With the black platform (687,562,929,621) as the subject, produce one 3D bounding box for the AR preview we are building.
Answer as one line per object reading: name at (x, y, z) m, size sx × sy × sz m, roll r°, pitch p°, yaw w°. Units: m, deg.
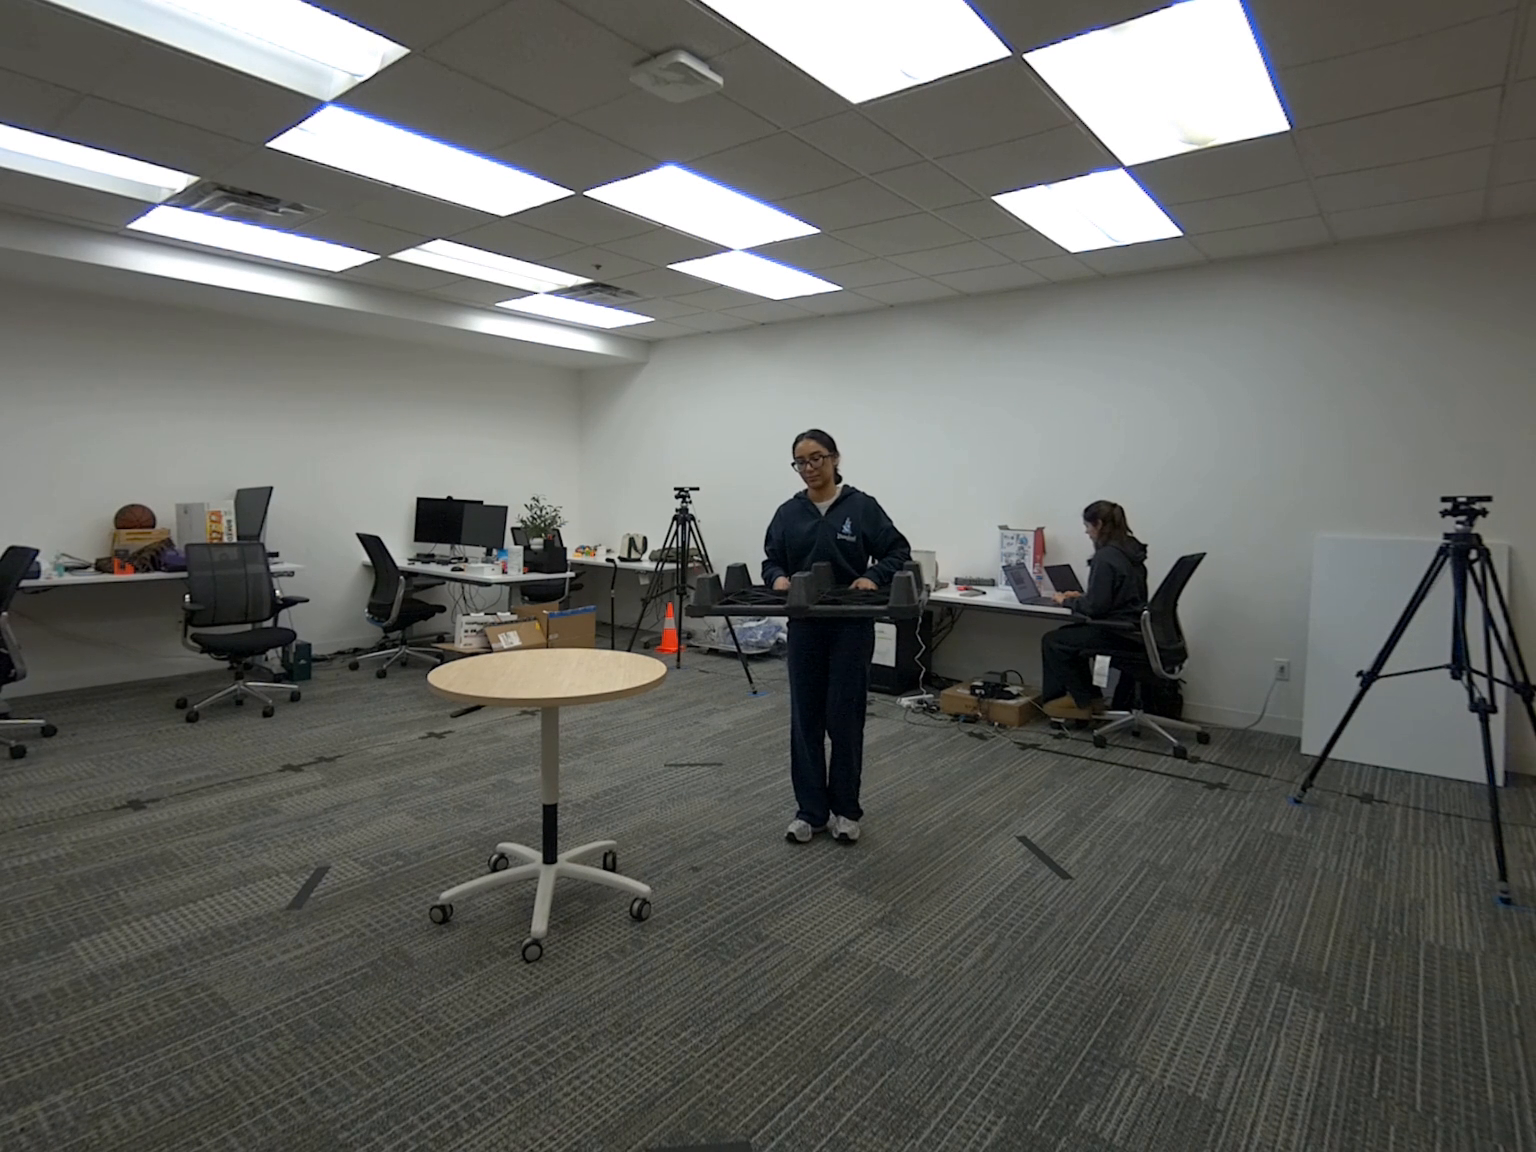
black platform at (0.149, 0.041, 3.093) m, size 0.820 × 0.143 × 0.597 m, roll 0°, pitch 6°, yaw 16°
